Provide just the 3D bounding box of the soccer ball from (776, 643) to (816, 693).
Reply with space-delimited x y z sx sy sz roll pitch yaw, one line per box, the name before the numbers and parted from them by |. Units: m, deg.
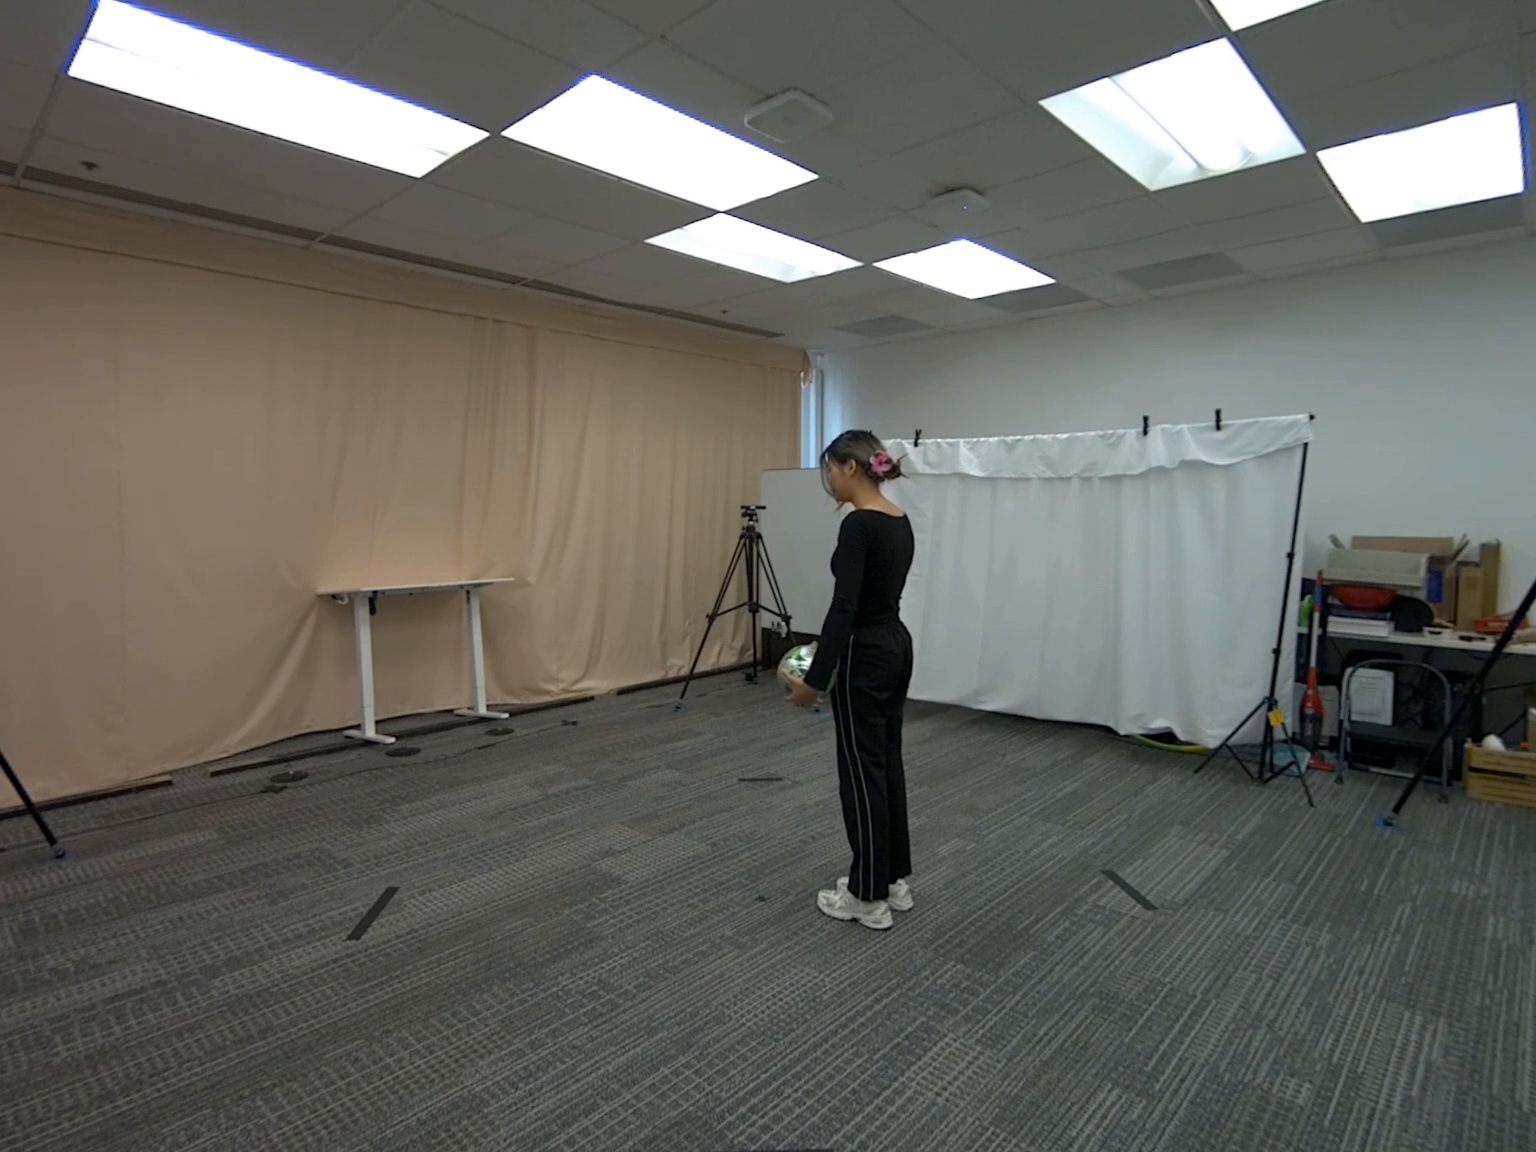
soccer ball | 0.128 0.312 2.721 0.187 0.187 0.188 0 4 -2
